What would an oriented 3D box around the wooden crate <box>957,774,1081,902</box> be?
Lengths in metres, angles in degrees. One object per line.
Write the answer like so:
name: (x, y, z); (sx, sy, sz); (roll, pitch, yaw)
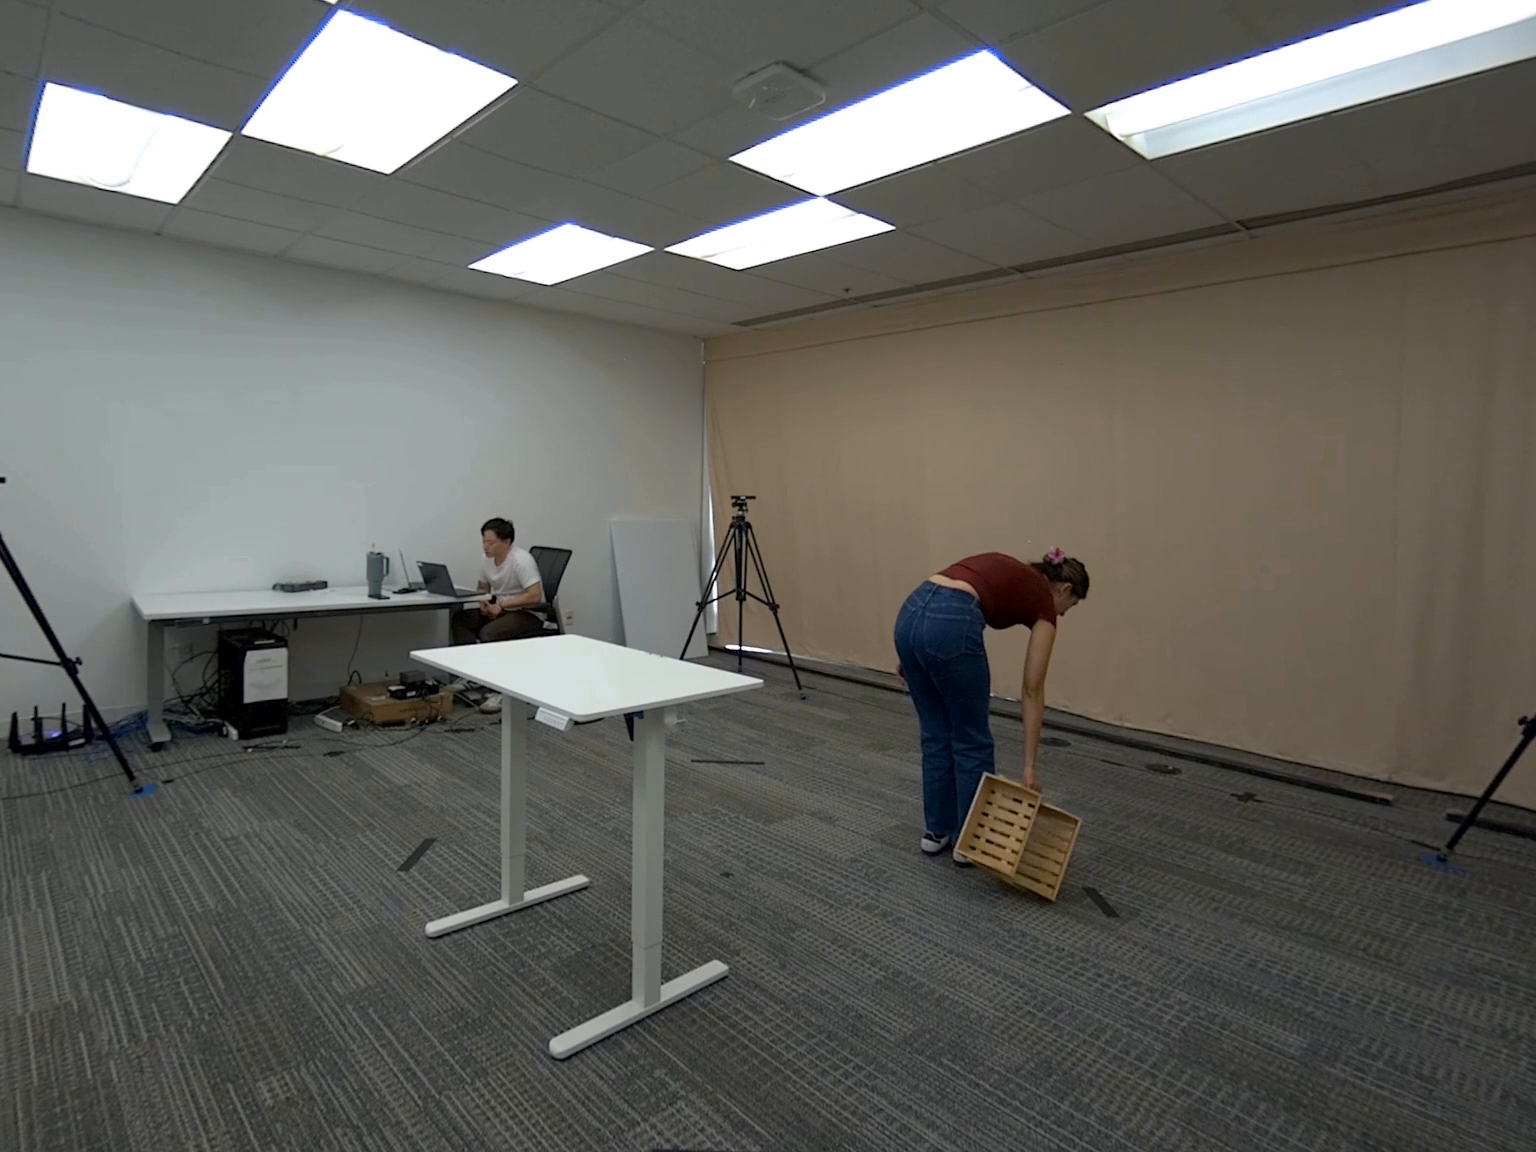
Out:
wooden crate: (0.897, 0.926, 3.010); (0.310, 0.326, 0.264); (10, -23, 43)
